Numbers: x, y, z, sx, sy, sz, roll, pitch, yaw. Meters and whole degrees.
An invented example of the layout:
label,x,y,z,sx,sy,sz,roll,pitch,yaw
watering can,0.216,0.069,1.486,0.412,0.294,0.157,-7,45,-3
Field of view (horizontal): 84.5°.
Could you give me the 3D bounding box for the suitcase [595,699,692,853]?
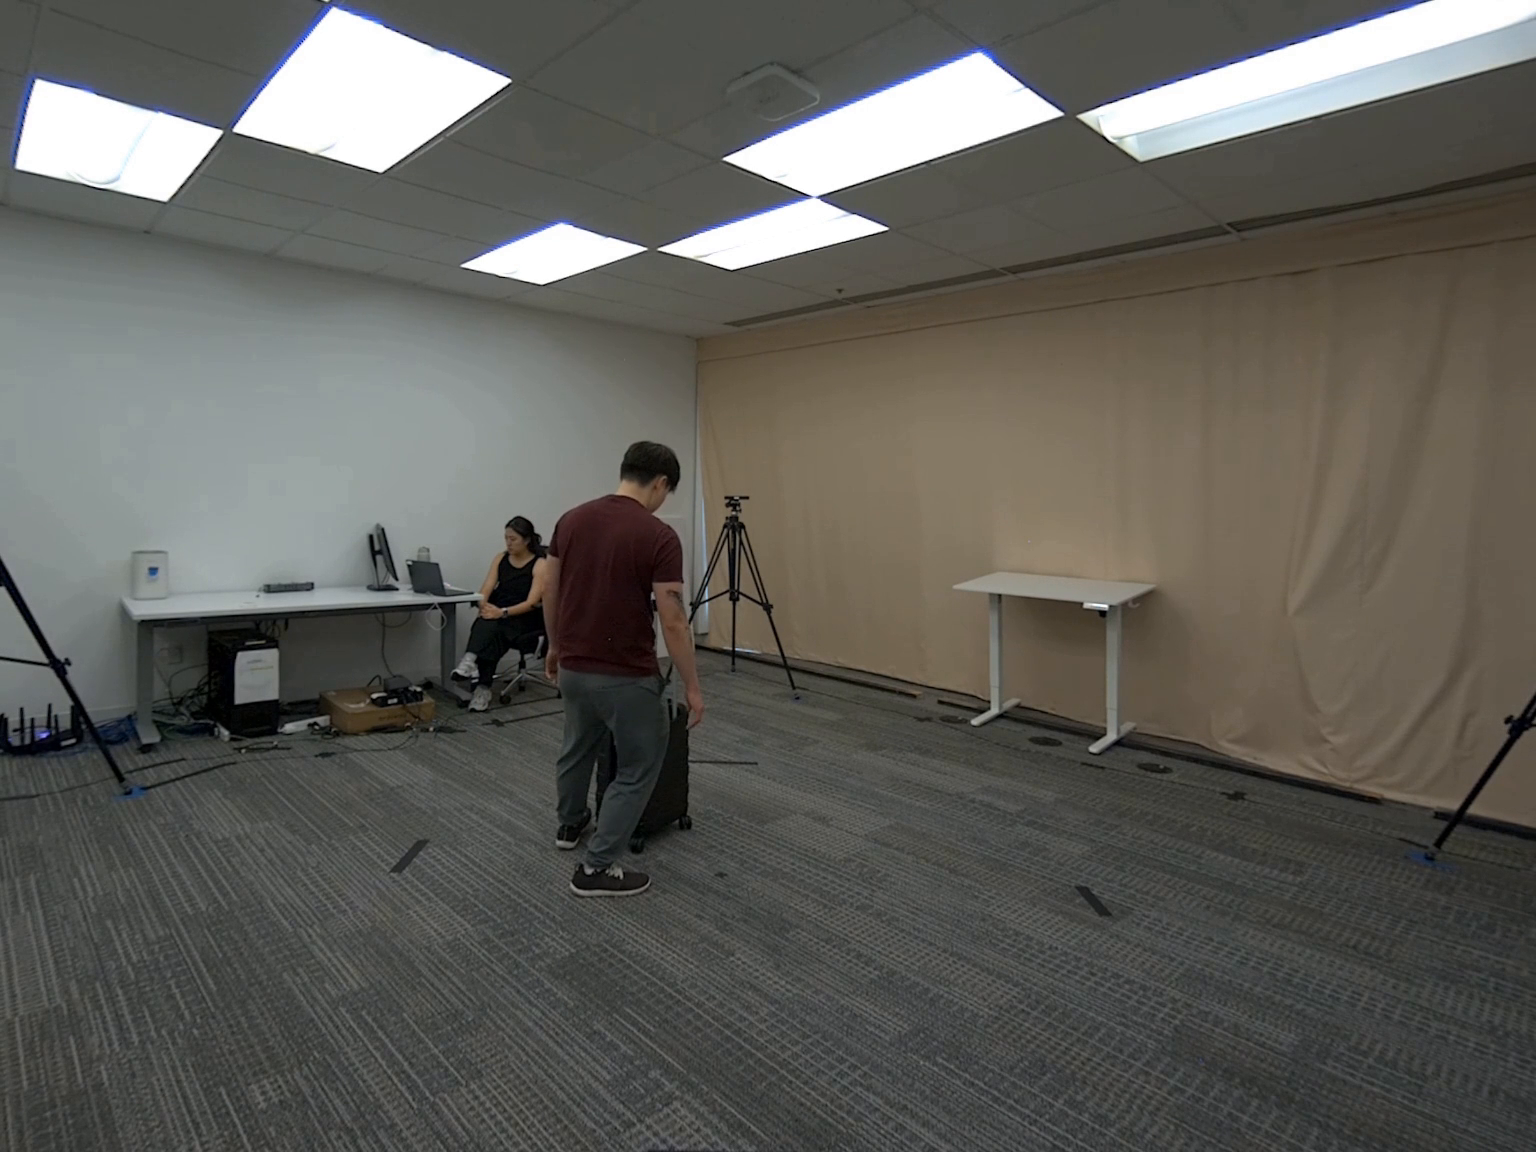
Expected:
label,x,y,z,sx,sy,sz,roll,pitch,yaw
suitcase,-0.521,0.587,3.471,0.262,0.977,0.376,0,2,31
